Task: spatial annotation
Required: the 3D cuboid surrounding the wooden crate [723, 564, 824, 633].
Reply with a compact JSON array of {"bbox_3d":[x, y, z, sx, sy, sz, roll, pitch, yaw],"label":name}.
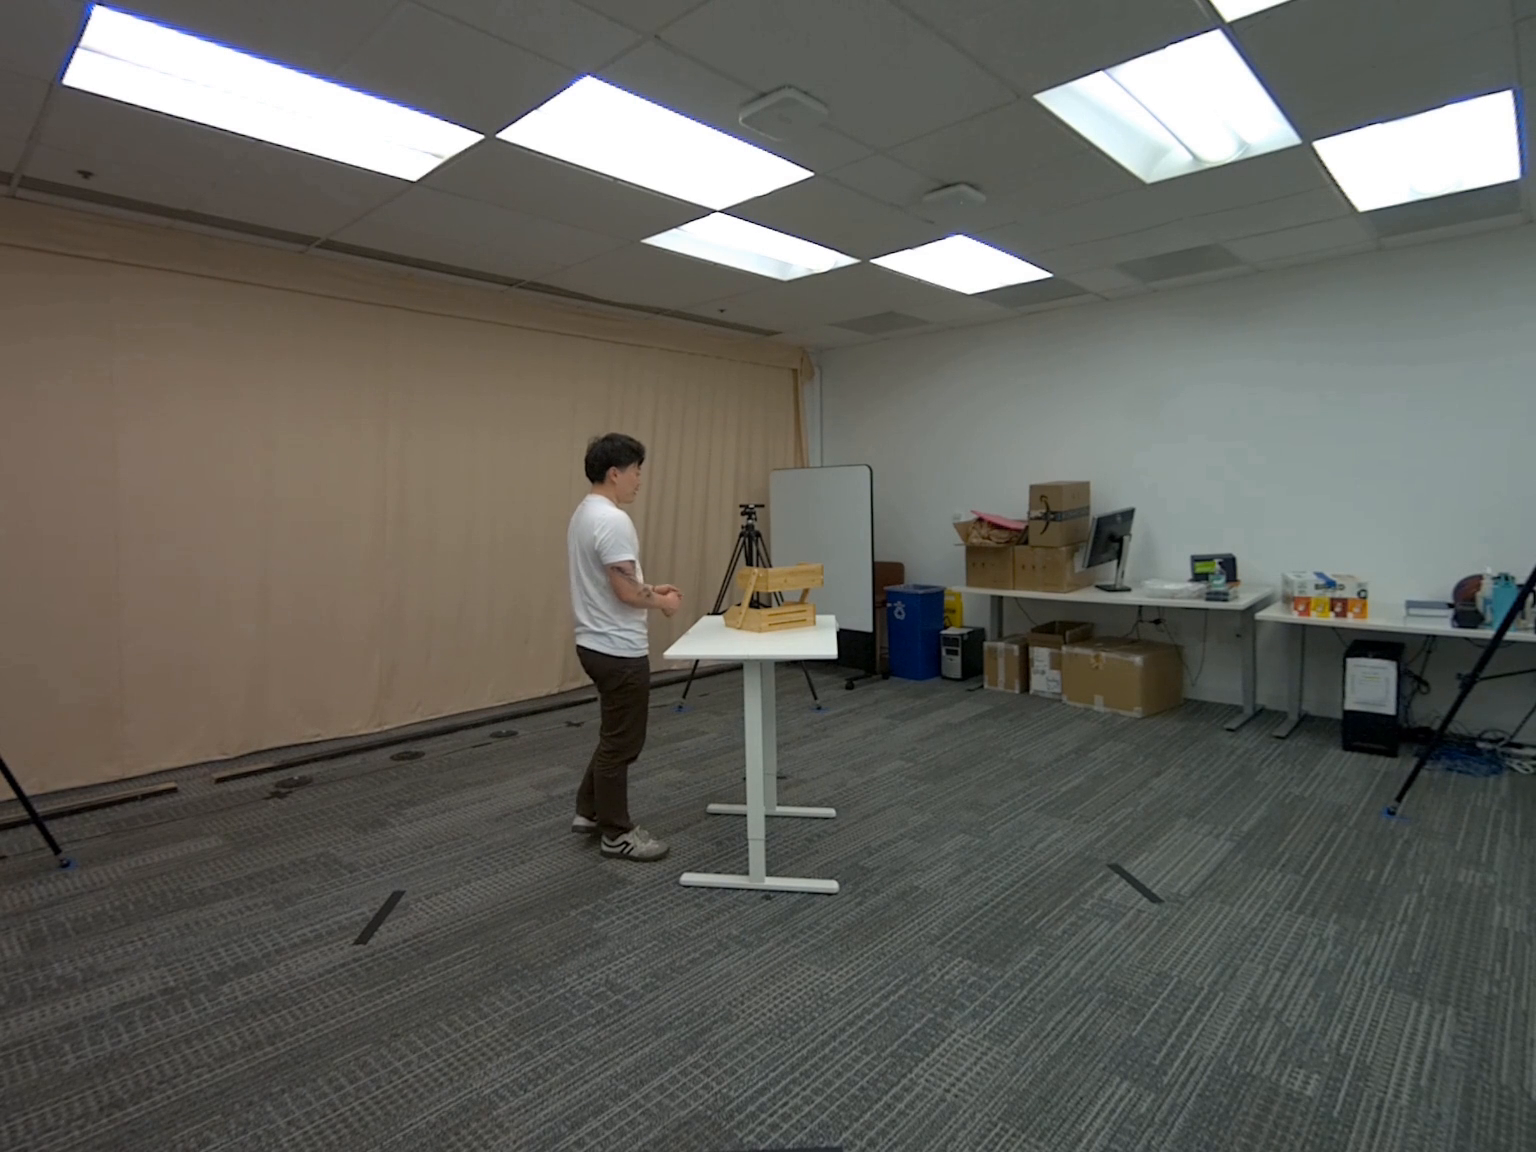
[{"bbox_3d":[0.021,0.078,3.515,0.315,0.272,0.312,-5,6,-36],"label":"wooden crate"}]
